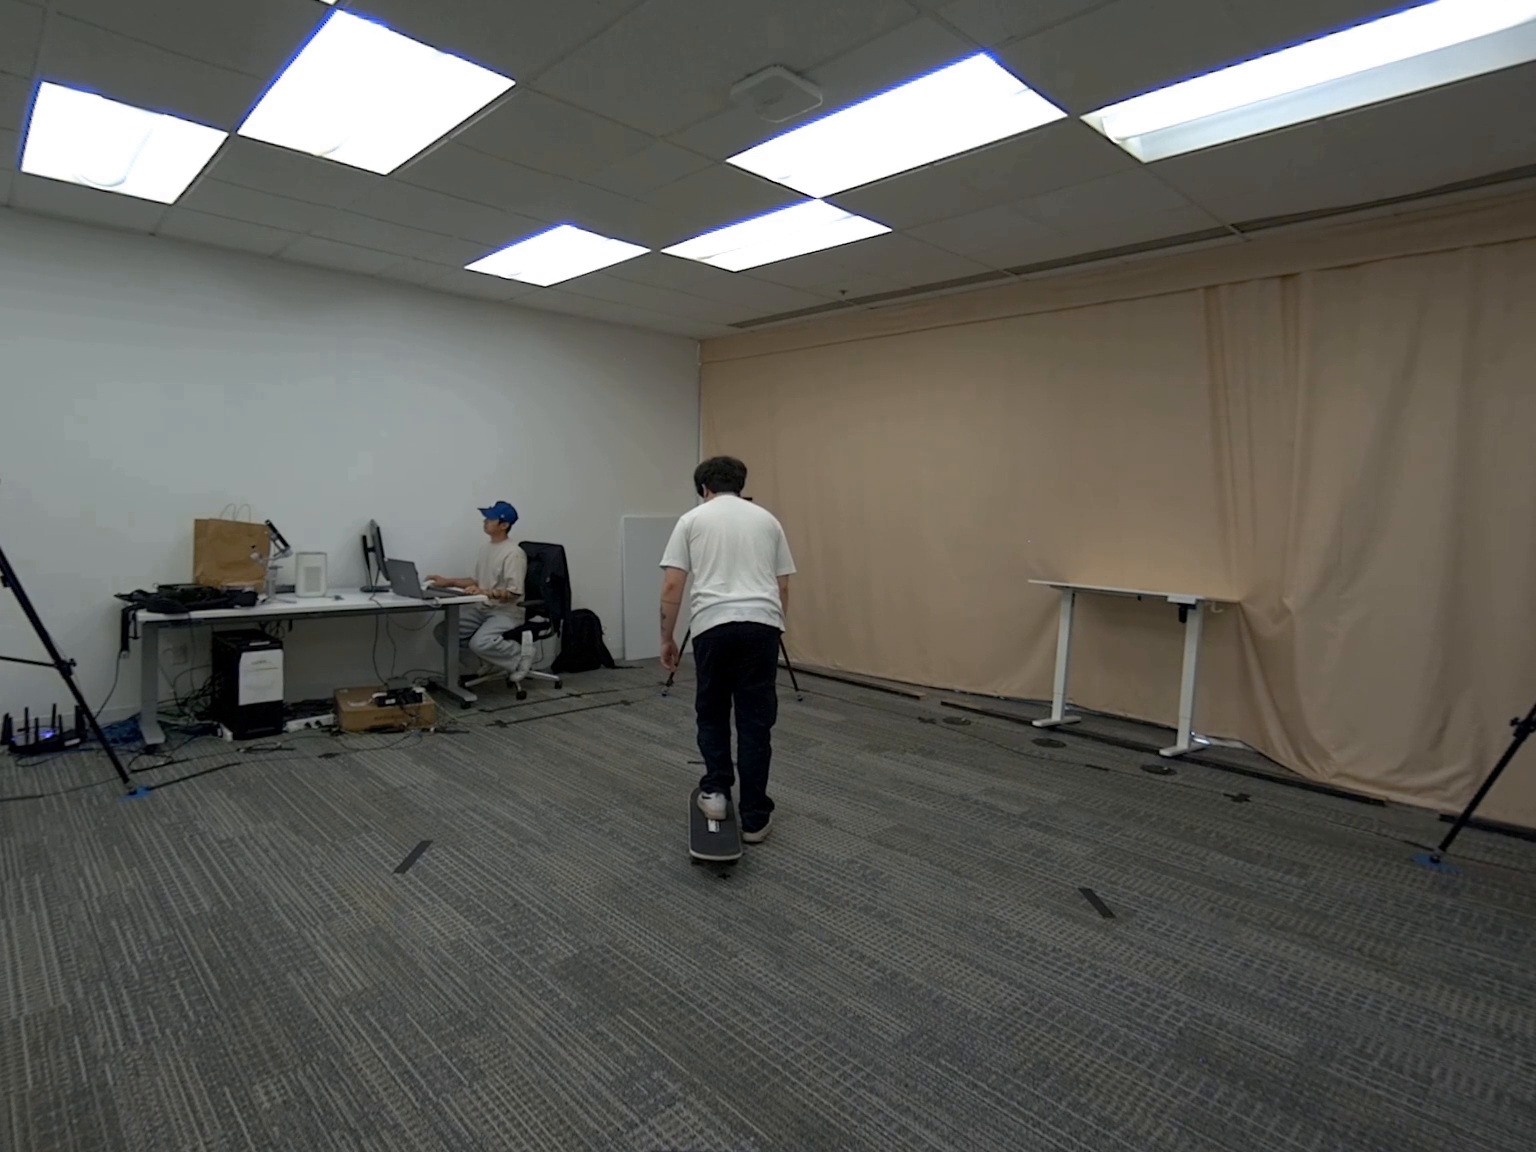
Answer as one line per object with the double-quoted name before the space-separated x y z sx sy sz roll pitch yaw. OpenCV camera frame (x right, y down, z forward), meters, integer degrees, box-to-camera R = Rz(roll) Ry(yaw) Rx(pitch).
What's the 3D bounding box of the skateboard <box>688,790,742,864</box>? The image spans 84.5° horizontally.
"skateboard" -0.232 1.021 3.406 0.193 0.110 0.790 1 5 -6
